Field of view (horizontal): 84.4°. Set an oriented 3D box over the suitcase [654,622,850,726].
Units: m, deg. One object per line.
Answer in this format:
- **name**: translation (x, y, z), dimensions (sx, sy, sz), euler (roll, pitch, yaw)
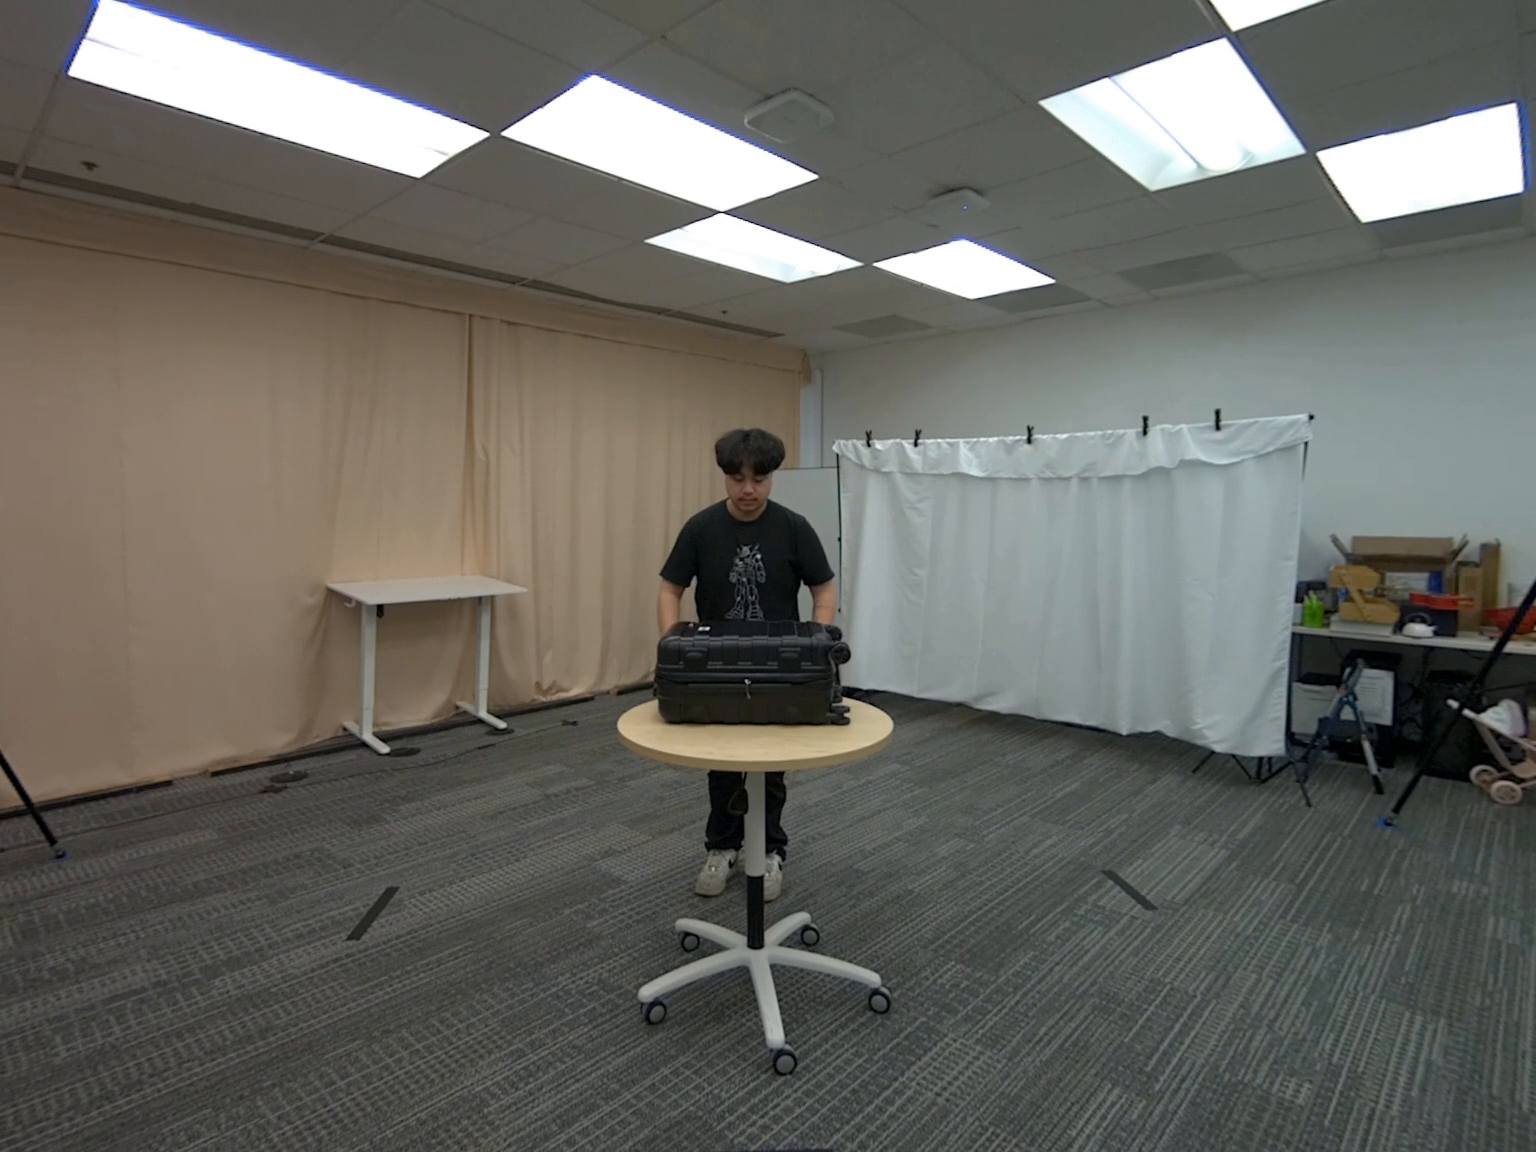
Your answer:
- **suitcase**: translation (-0.049, 0.276, 2.451), dimensions (0.551, 0.247, 0.375), euler (-2, 6, 3)
